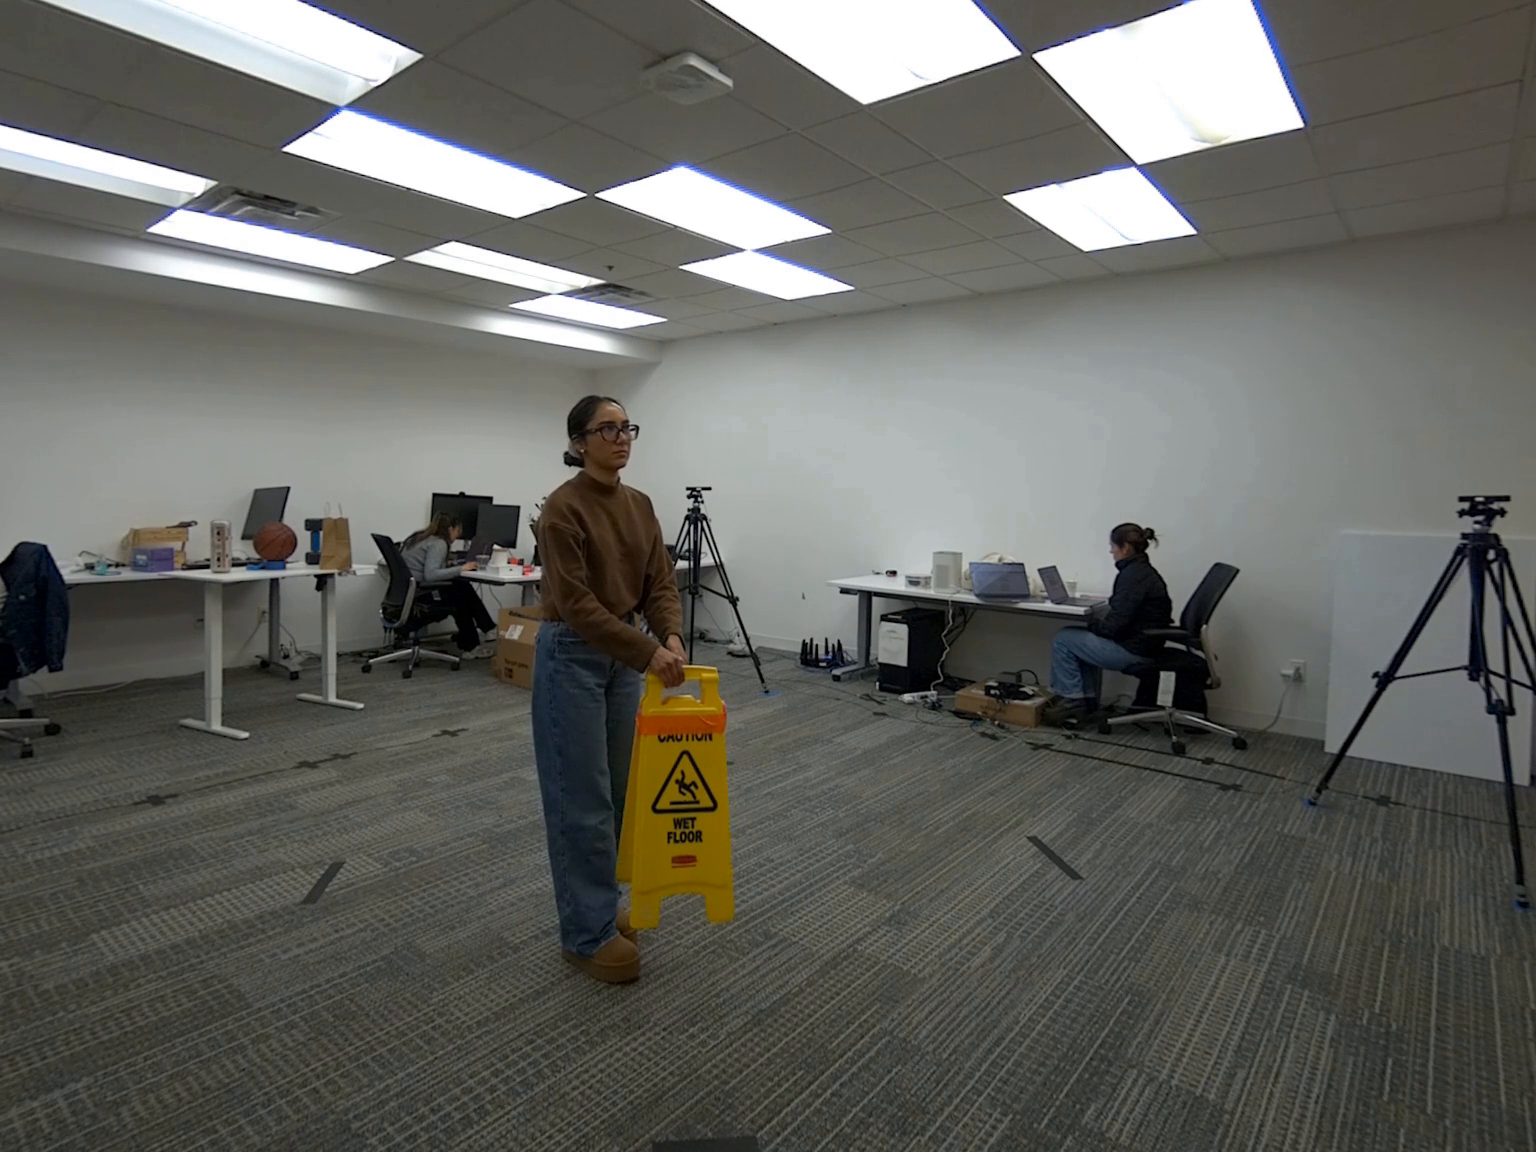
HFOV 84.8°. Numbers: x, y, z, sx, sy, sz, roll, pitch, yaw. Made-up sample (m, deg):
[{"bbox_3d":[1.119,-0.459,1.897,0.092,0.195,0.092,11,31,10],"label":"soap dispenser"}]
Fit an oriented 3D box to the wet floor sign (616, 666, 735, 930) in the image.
[{"bbox_3d":[-0.261,0.573,2.322,0.277,0.645,0.295,3,2,-17],"label":"wet floor sign"}]
